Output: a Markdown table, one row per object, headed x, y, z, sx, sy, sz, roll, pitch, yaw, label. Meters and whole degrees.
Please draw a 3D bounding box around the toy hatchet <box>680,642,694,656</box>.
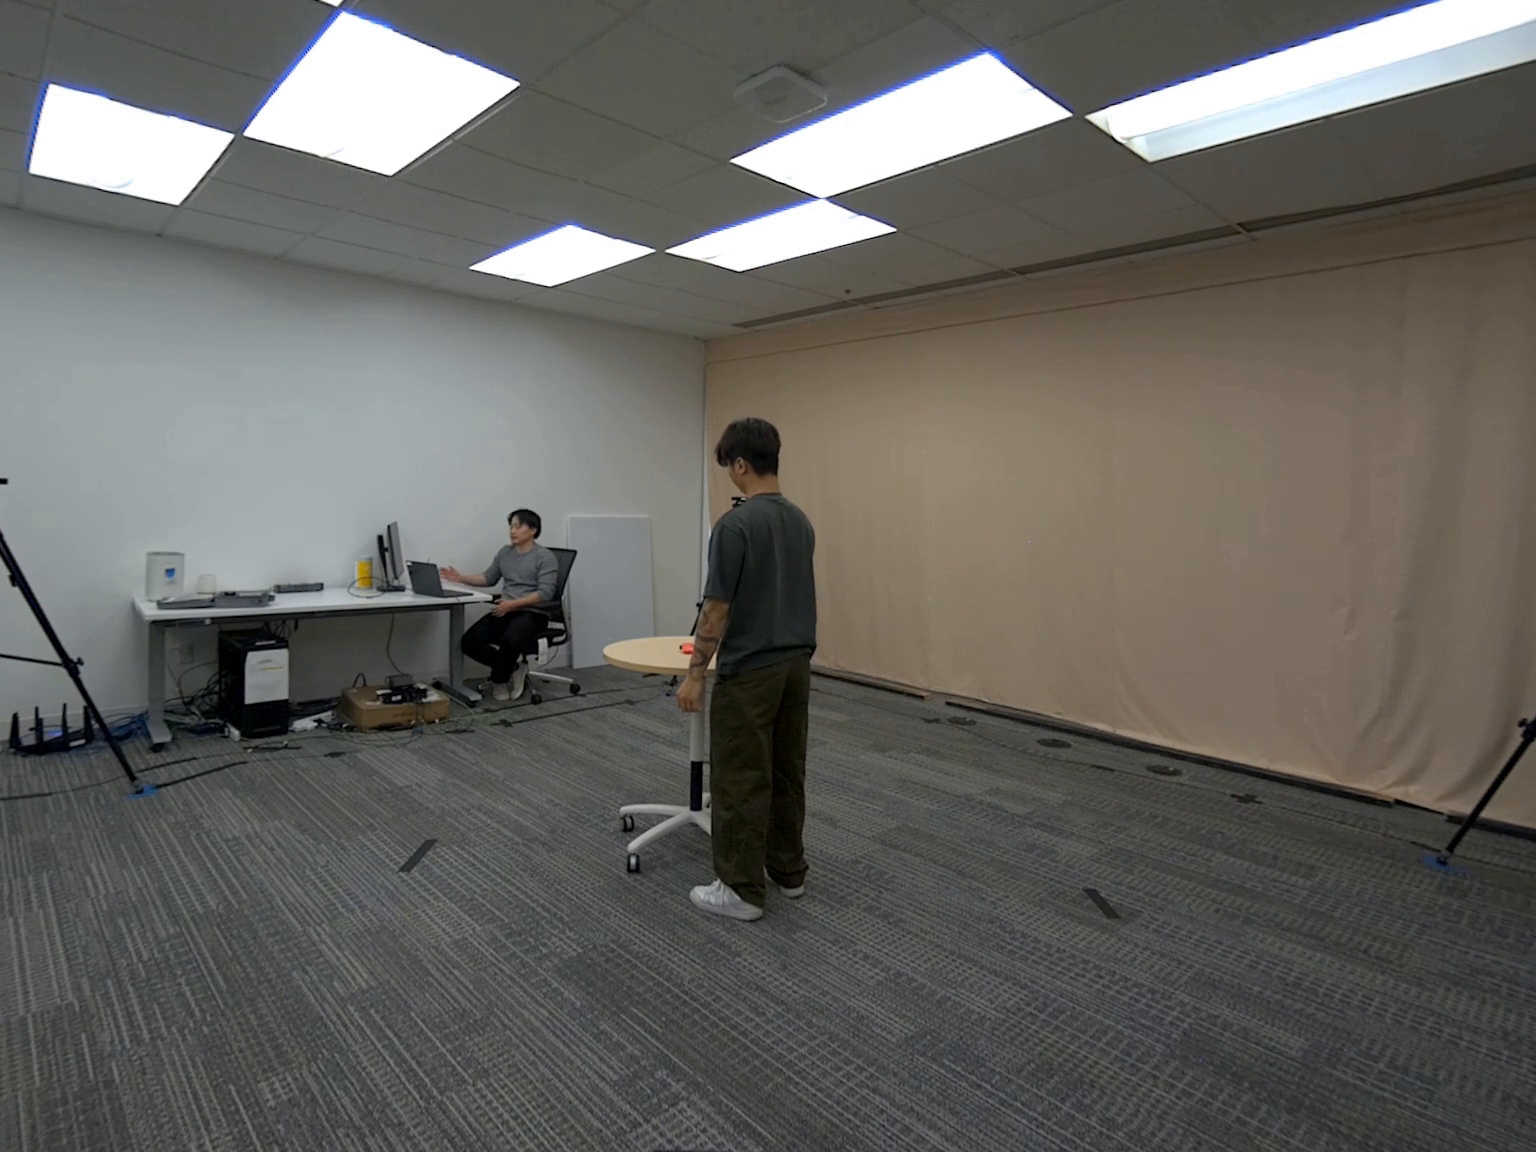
| x | y | z | sx | sy | sz | roll | pitch | yaw | label |
| --- | --- | --- | --- | --- | --- | --- | --- | --- | --- |
| -0.222 | 0.293 | 3.289 | 0.275 | 0.029 | 0.129 | 4 | 6 | 24 | toy hatchet |
